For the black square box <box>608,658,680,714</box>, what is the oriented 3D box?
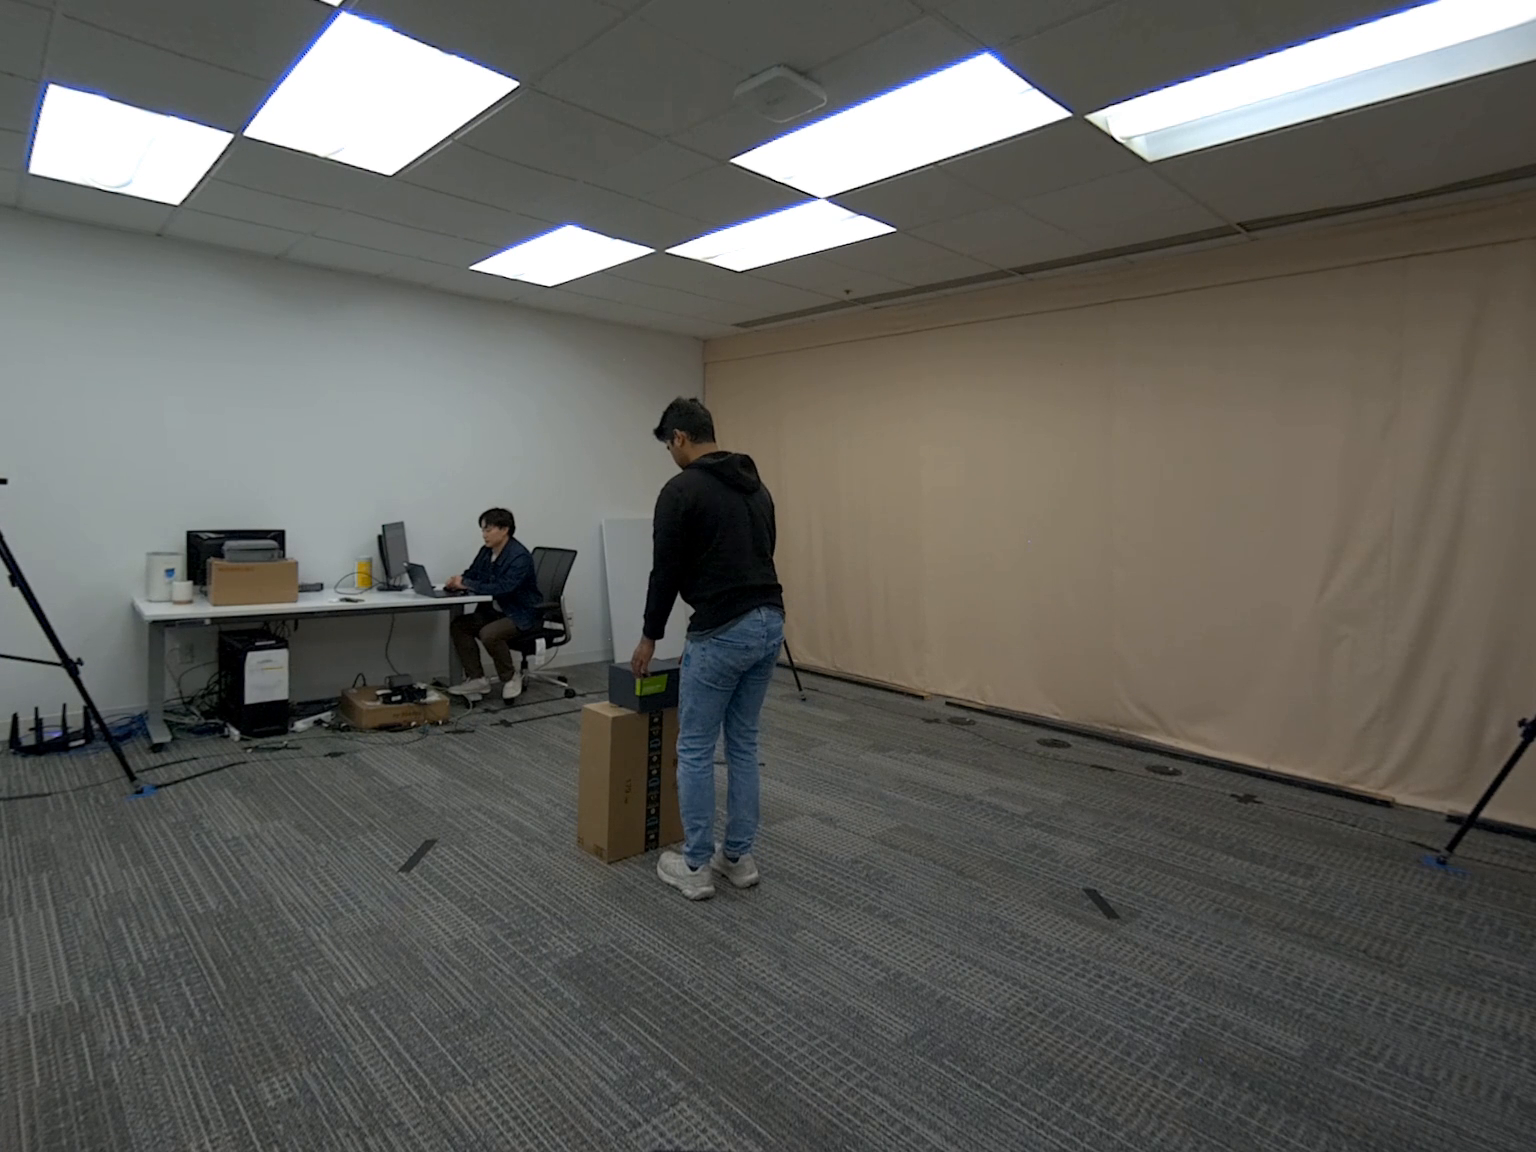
[{"bbox_3d":[-0.489,0.430,3.357,0.223,0.155,0.223,-3,7,-44],"label":"black square box"}]
